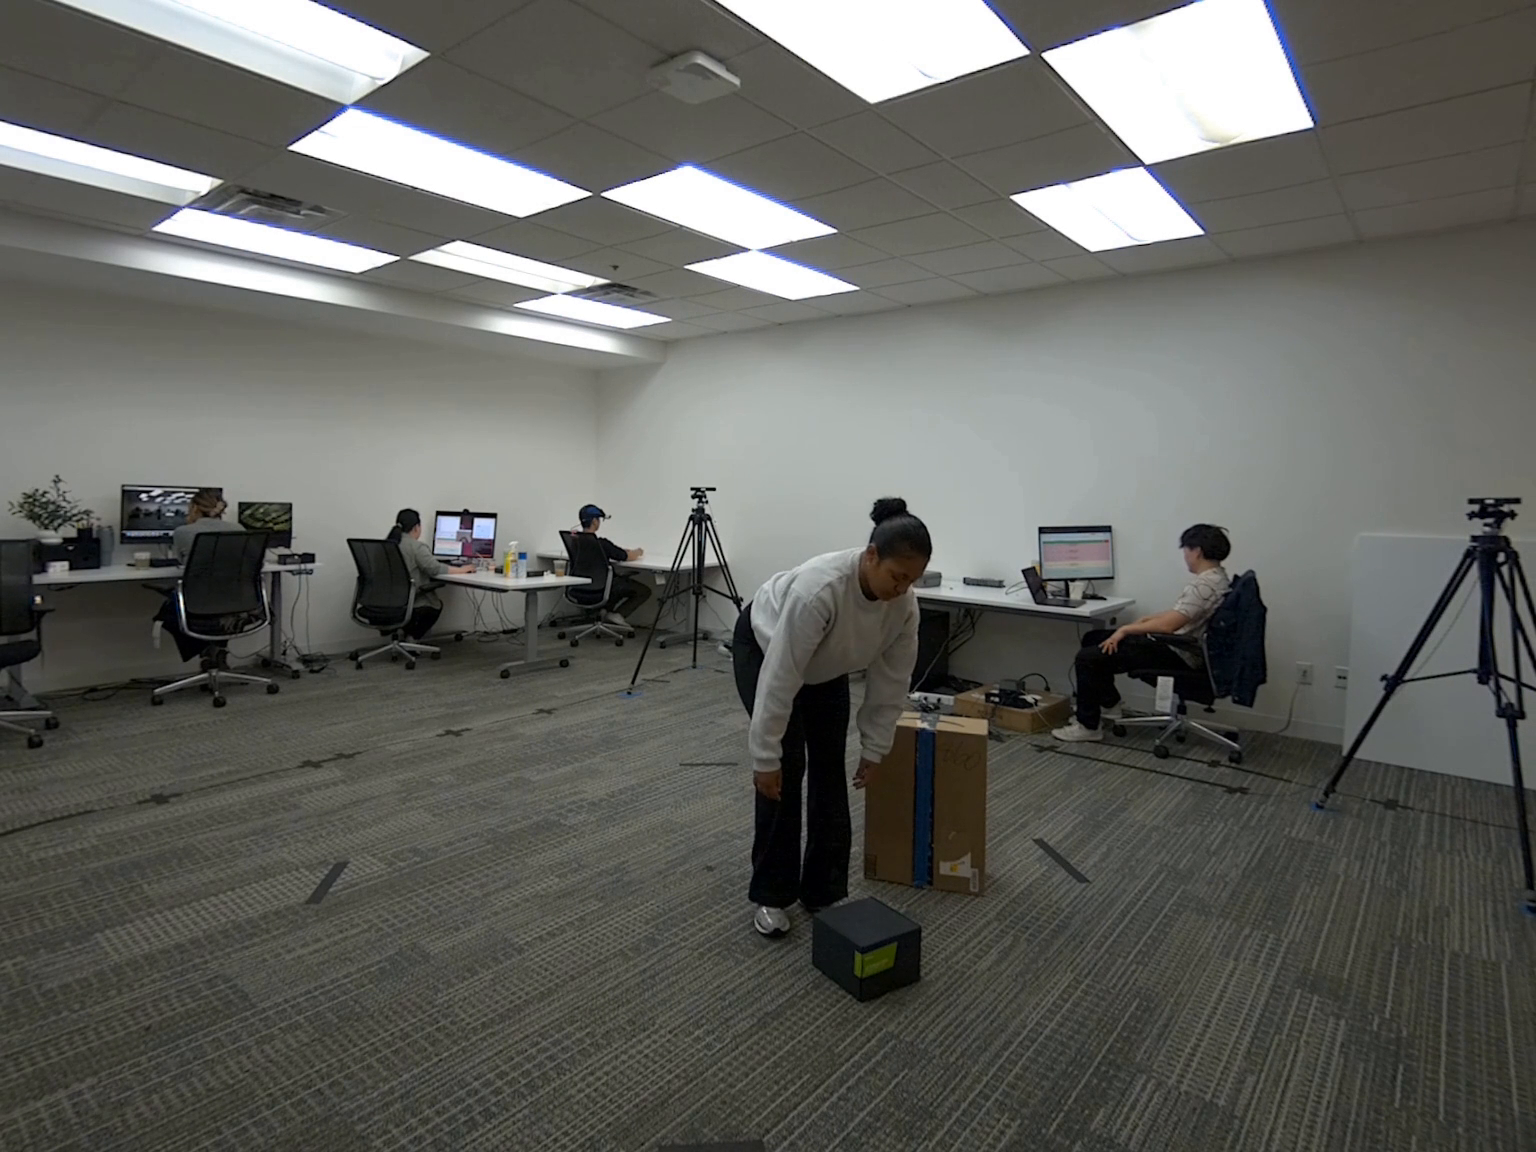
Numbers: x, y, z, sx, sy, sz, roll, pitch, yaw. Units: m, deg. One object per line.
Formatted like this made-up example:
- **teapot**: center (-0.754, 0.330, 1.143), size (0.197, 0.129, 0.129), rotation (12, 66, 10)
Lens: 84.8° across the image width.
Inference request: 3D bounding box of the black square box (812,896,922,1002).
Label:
- **black square box**: center (0.278, 1.056, 2.452), size (0.221, 0.155, 0.224), rotation (-2, 6, -35)
